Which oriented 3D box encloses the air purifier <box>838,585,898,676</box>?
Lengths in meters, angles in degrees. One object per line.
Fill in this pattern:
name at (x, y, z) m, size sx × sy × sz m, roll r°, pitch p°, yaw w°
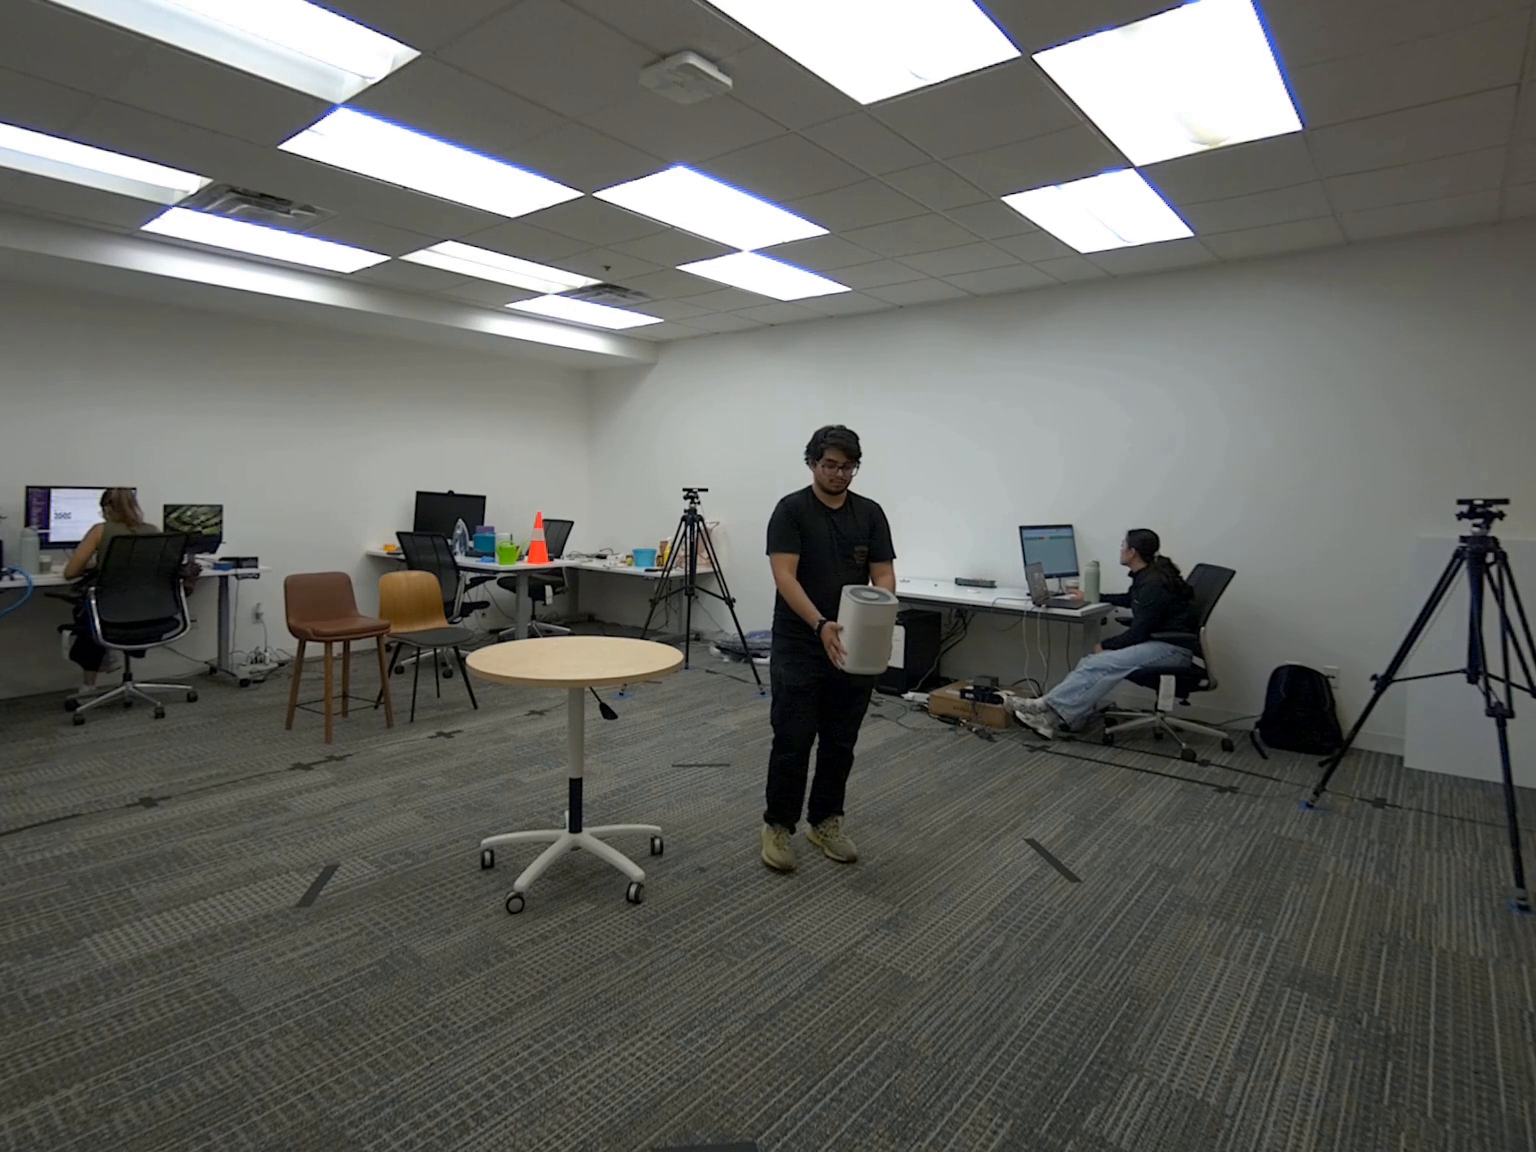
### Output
air purifier at (0.323, 0.181, 2.904) m, size 0.169 × 0.262 × 0.176 m, roll 2°, pitch 18°, yaw -15°
